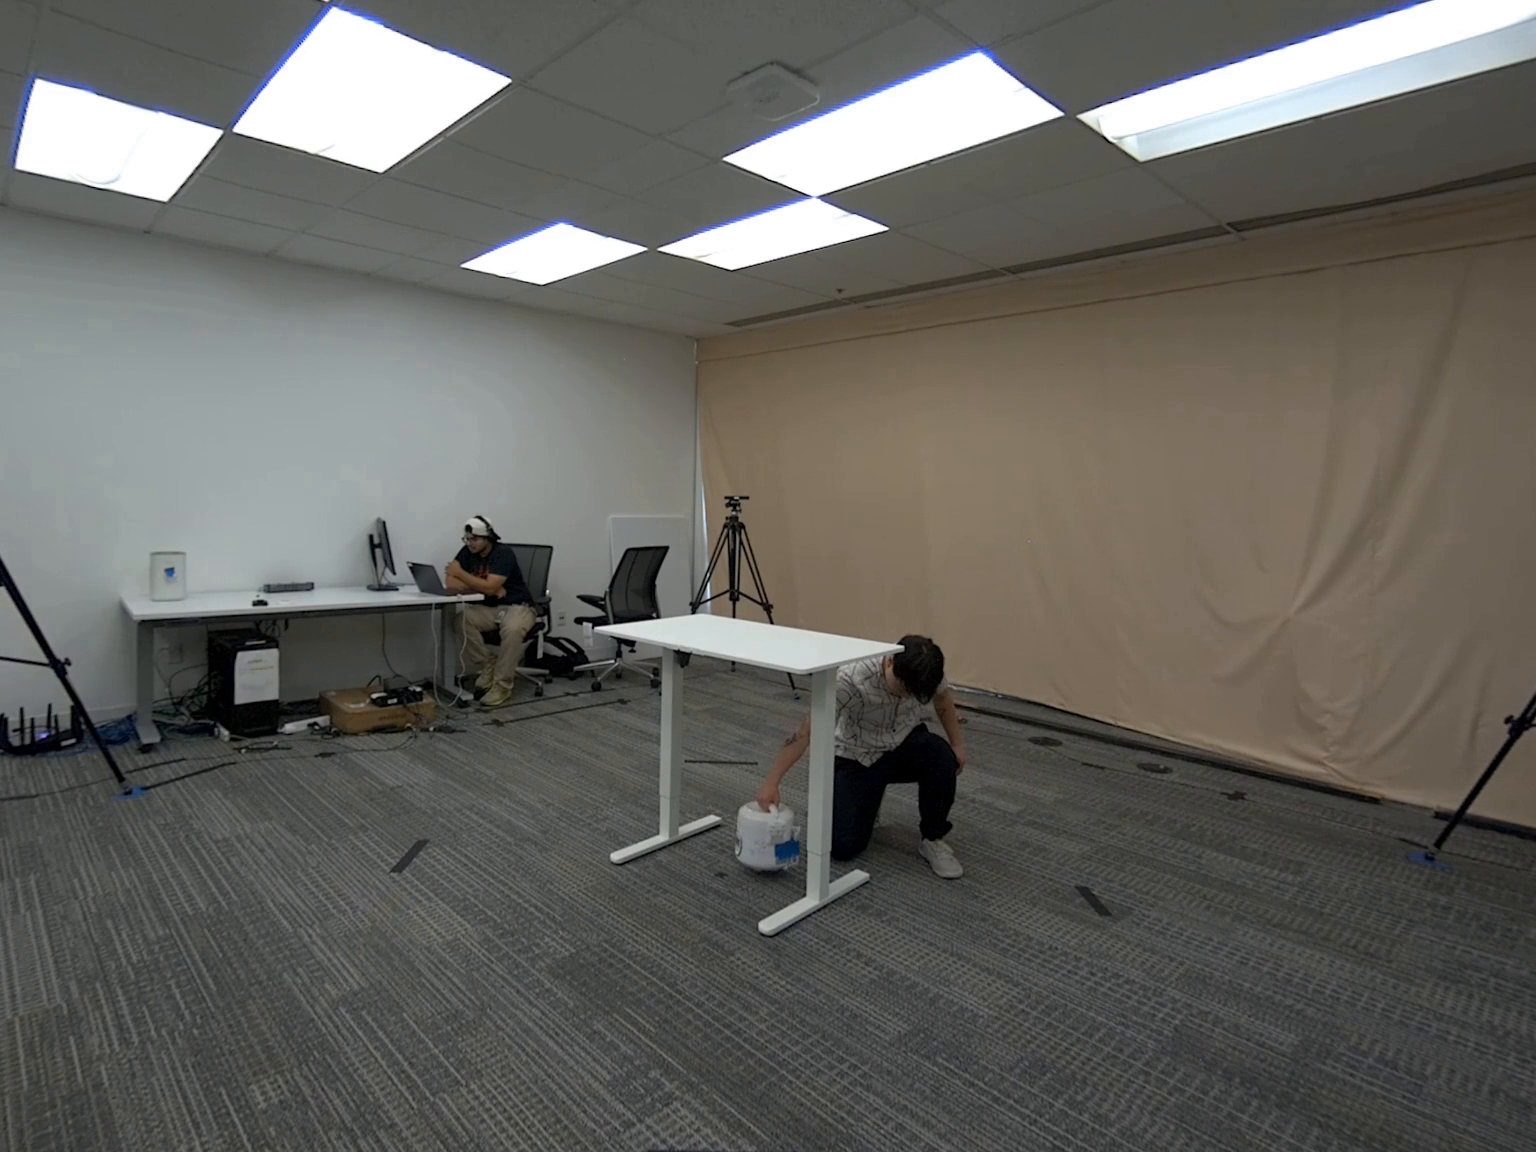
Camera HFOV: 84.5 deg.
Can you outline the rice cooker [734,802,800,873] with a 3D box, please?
[{"bbox_3d":[-0.015,0.942,3.109,0.214,0.232,0.224,3,1,-21],"label":"rice cooker"}]
